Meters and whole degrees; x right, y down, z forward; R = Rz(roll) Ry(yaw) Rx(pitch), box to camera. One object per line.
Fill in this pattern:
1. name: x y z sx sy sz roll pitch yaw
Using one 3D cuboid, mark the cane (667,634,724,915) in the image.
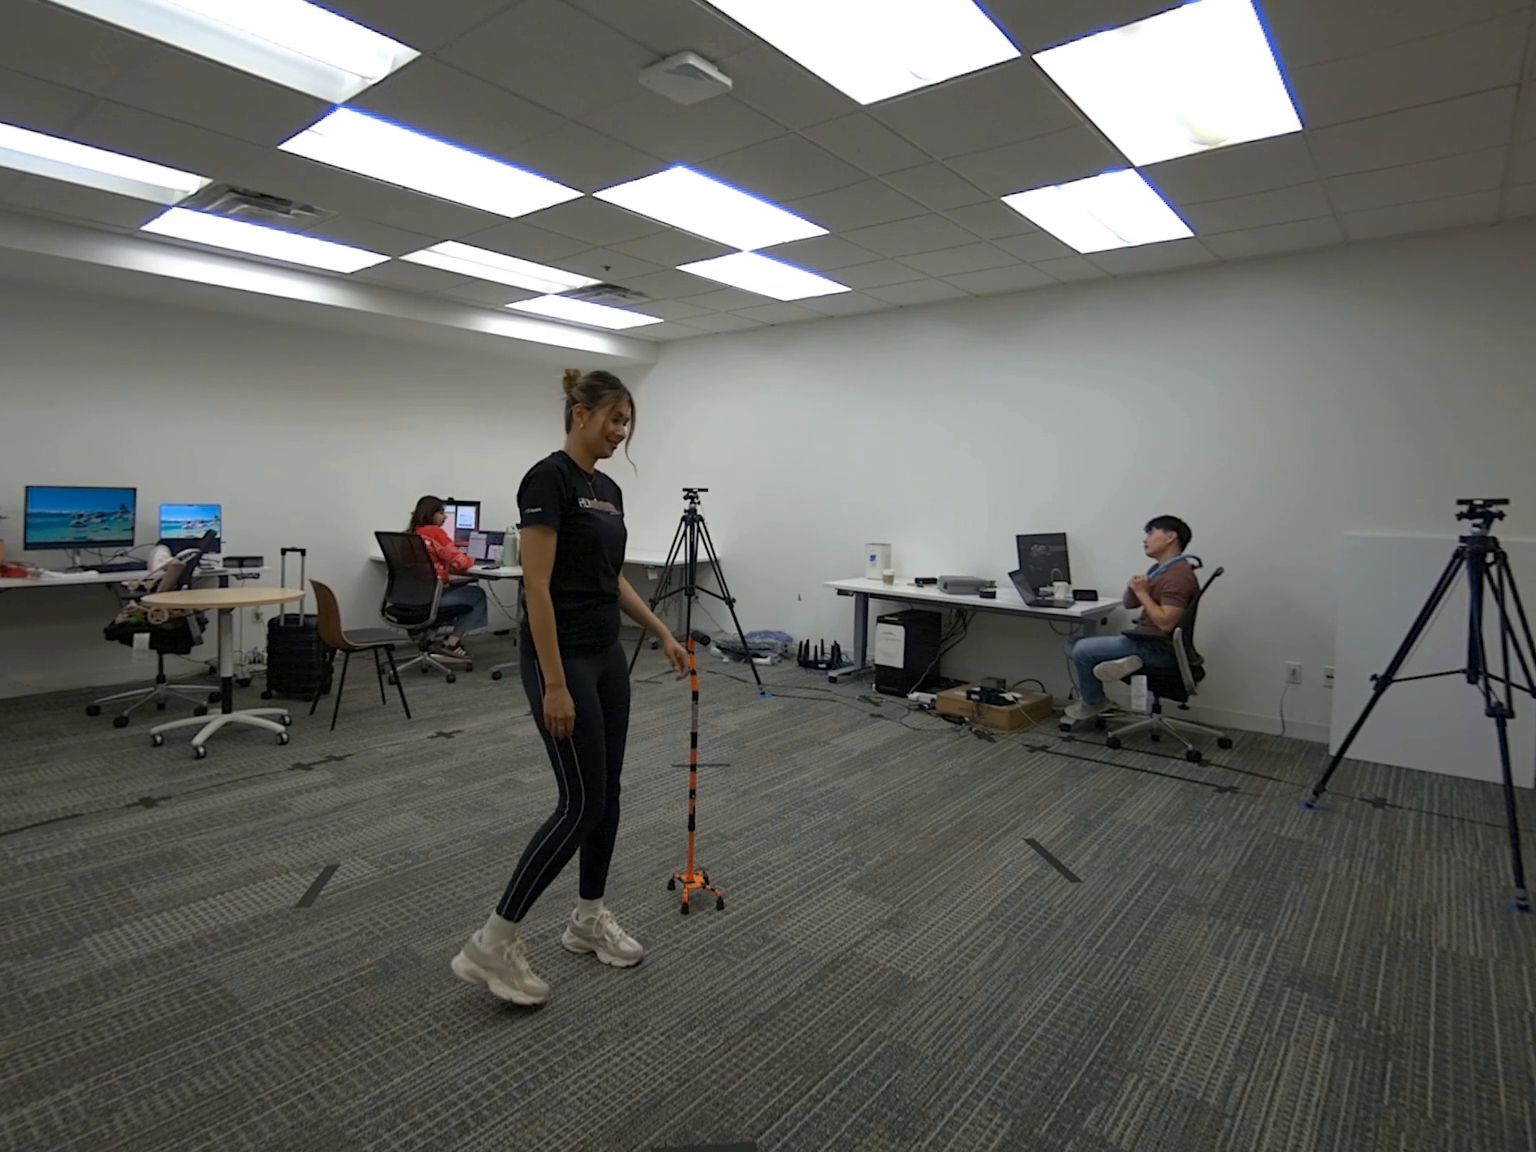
1. cane: -0.246 0.641 2.861 0.149 0.905 0.211 0 3 -20
